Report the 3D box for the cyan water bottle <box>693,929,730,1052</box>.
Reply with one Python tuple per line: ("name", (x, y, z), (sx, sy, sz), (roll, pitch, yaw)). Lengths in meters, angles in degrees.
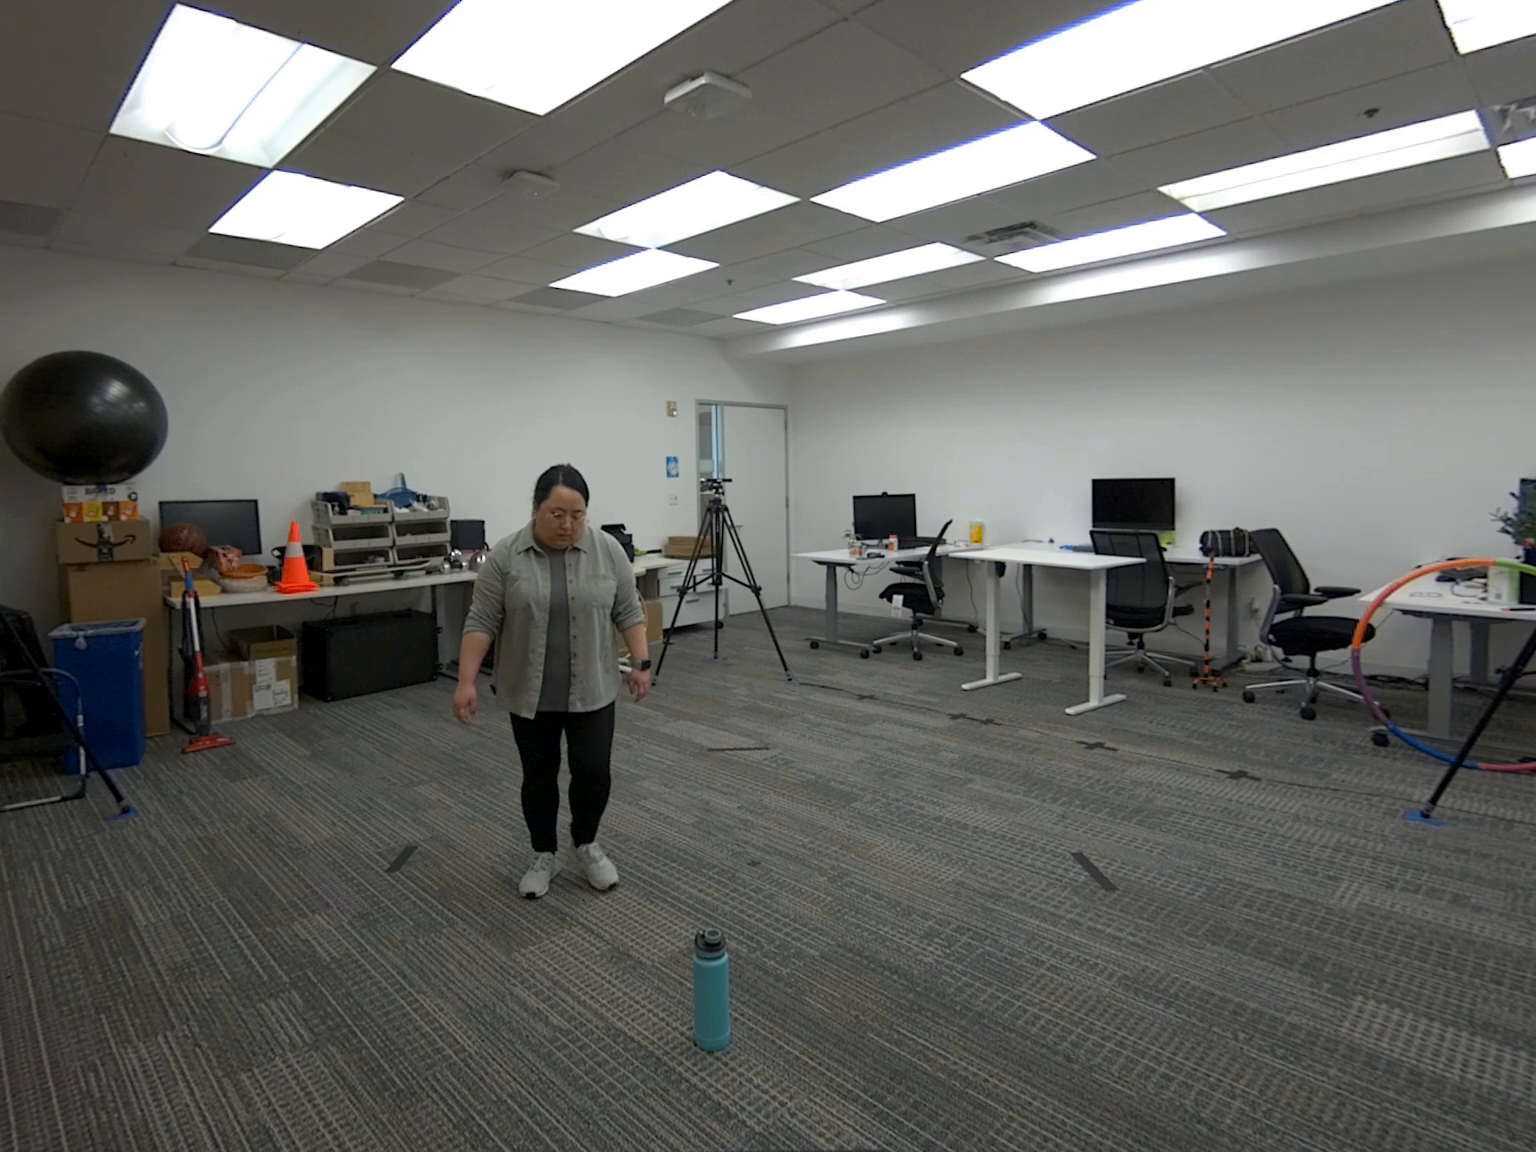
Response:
("cyan water bottle", (-0.138, 1.024, 2.124), (0.092, 0.282, 0.093), (-3, 3, -1))
